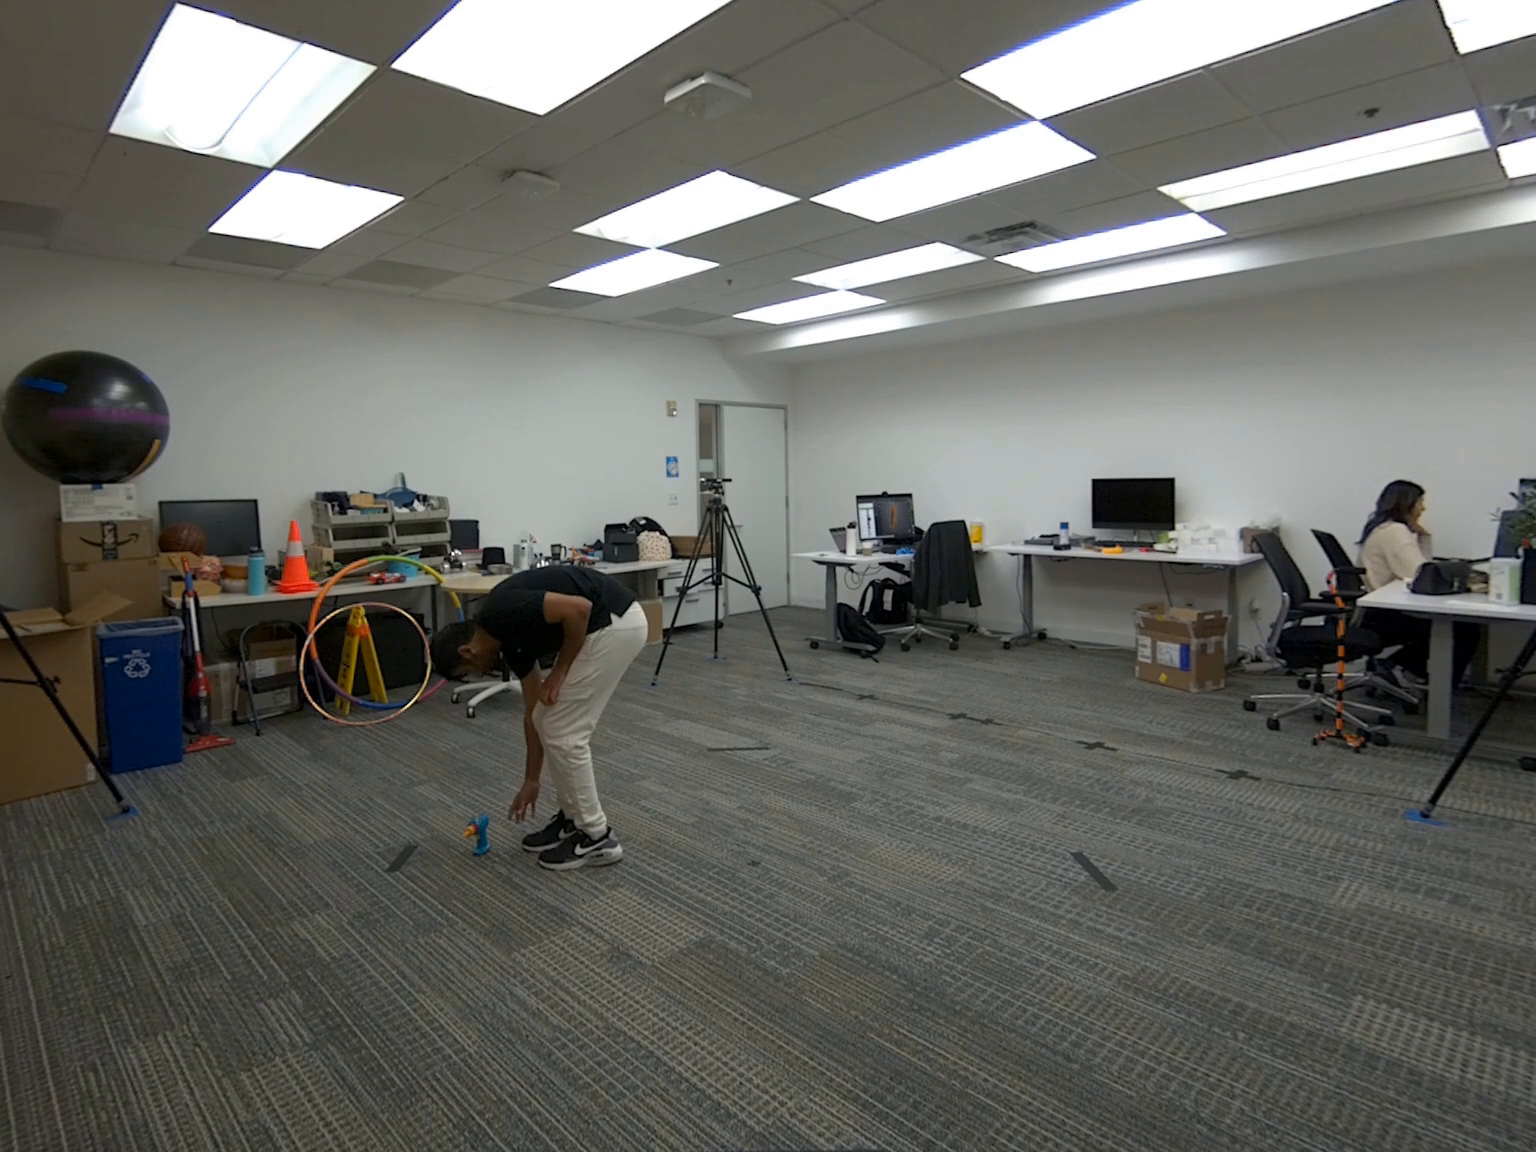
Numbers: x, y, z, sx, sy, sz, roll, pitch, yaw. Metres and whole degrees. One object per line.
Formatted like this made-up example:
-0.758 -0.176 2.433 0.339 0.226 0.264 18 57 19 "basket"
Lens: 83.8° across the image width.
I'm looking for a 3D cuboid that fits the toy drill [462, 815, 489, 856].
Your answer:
-1.094 0.985 3.209 0.062 0.145 0.169 3 7 10 "toy drill"
